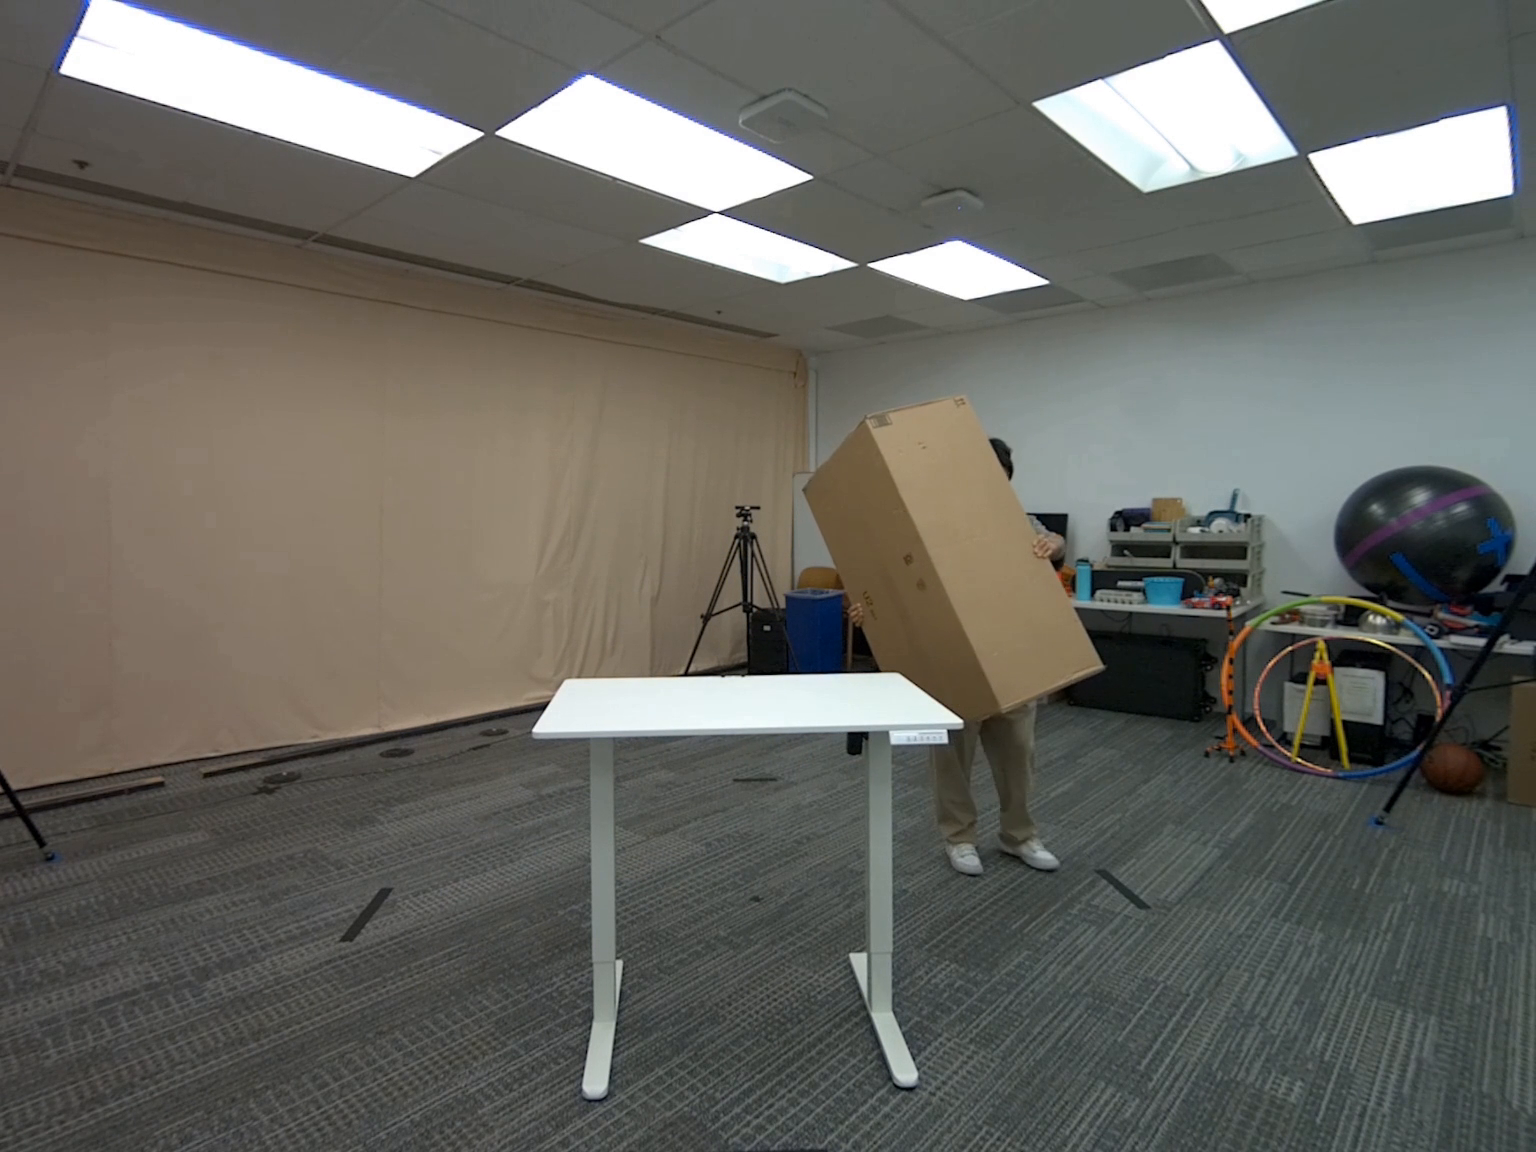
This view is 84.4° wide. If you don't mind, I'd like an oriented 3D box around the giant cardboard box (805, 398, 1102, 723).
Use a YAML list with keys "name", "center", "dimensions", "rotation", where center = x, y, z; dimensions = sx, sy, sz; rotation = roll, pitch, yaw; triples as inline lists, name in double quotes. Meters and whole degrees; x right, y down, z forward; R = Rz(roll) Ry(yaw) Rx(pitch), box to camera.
- name: "giant cardboard box"
  center: [0.600, -0.018, 2.946]
  dimensions: [0.418, 1.040, 0.580]
  rotation: [-15, -15, -24]
